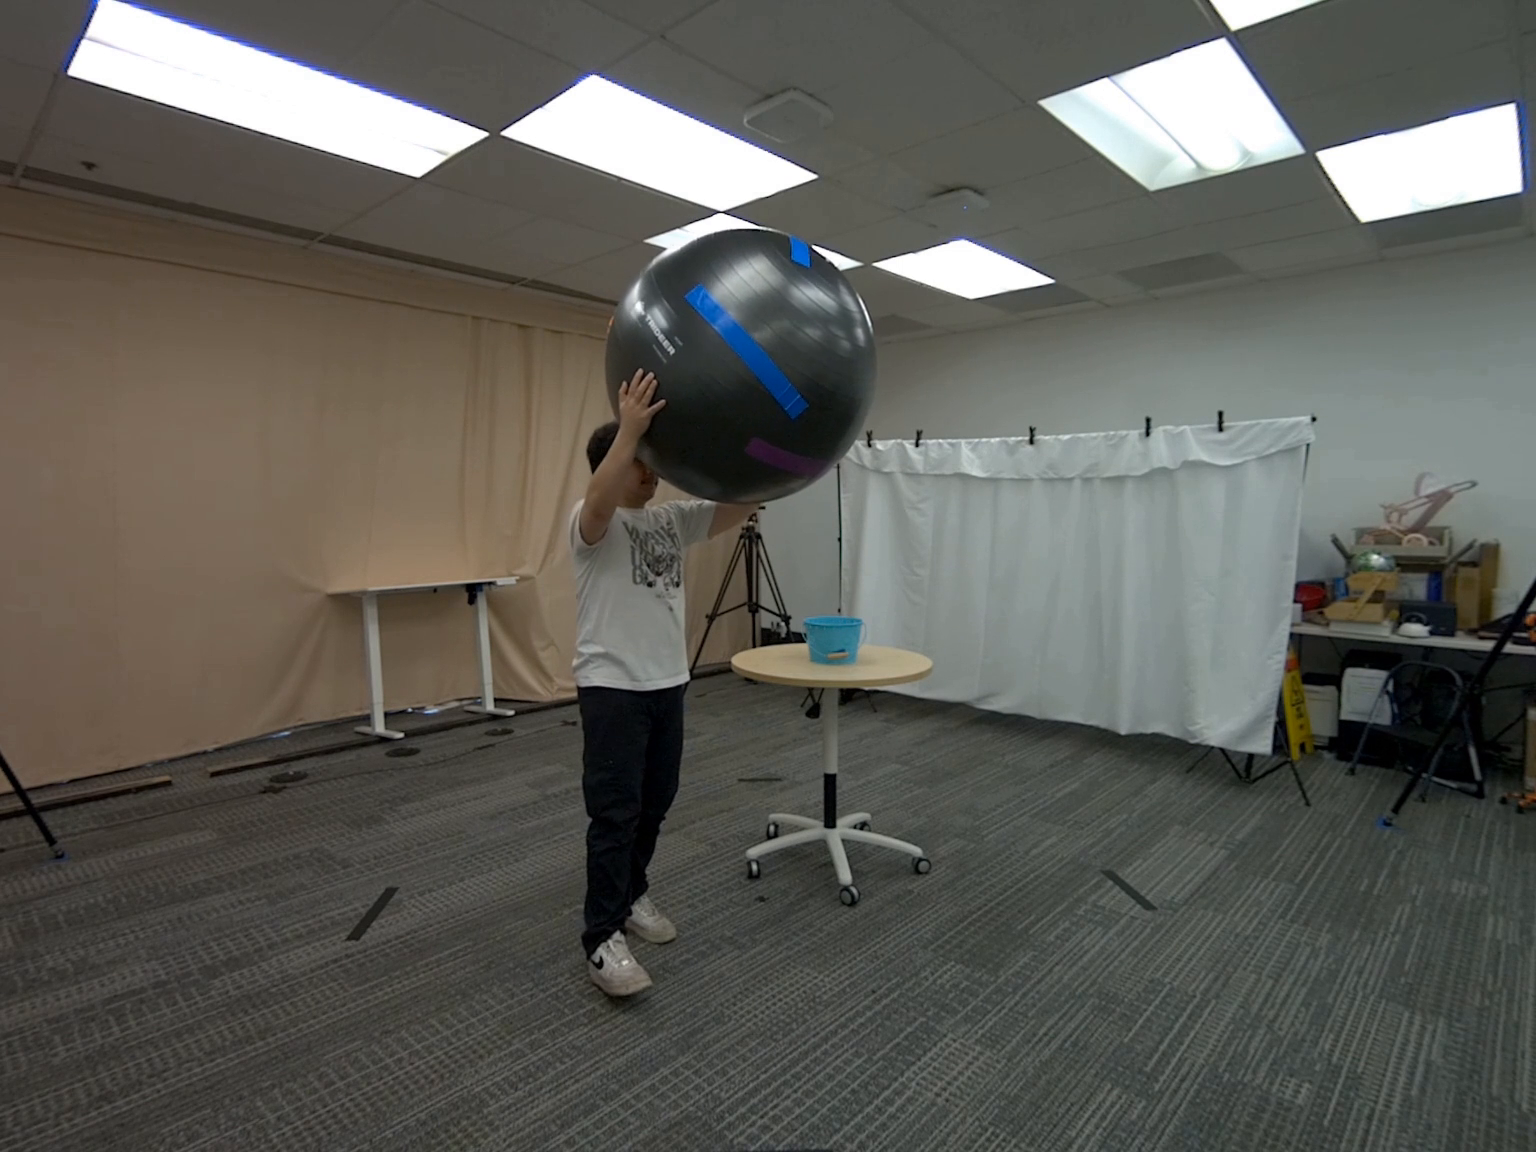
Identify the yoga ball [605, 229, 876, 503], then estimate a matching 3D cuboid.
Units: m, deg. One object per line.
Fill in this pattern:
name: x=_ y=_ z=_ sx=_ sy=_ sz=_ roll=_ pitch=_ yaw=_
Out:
yoga ball: x=-0.079 y=-0.577 z=2.368 sx=0.757 sy=0.756 sz=0.760 roll=0 pitch=4 yaw=-2
